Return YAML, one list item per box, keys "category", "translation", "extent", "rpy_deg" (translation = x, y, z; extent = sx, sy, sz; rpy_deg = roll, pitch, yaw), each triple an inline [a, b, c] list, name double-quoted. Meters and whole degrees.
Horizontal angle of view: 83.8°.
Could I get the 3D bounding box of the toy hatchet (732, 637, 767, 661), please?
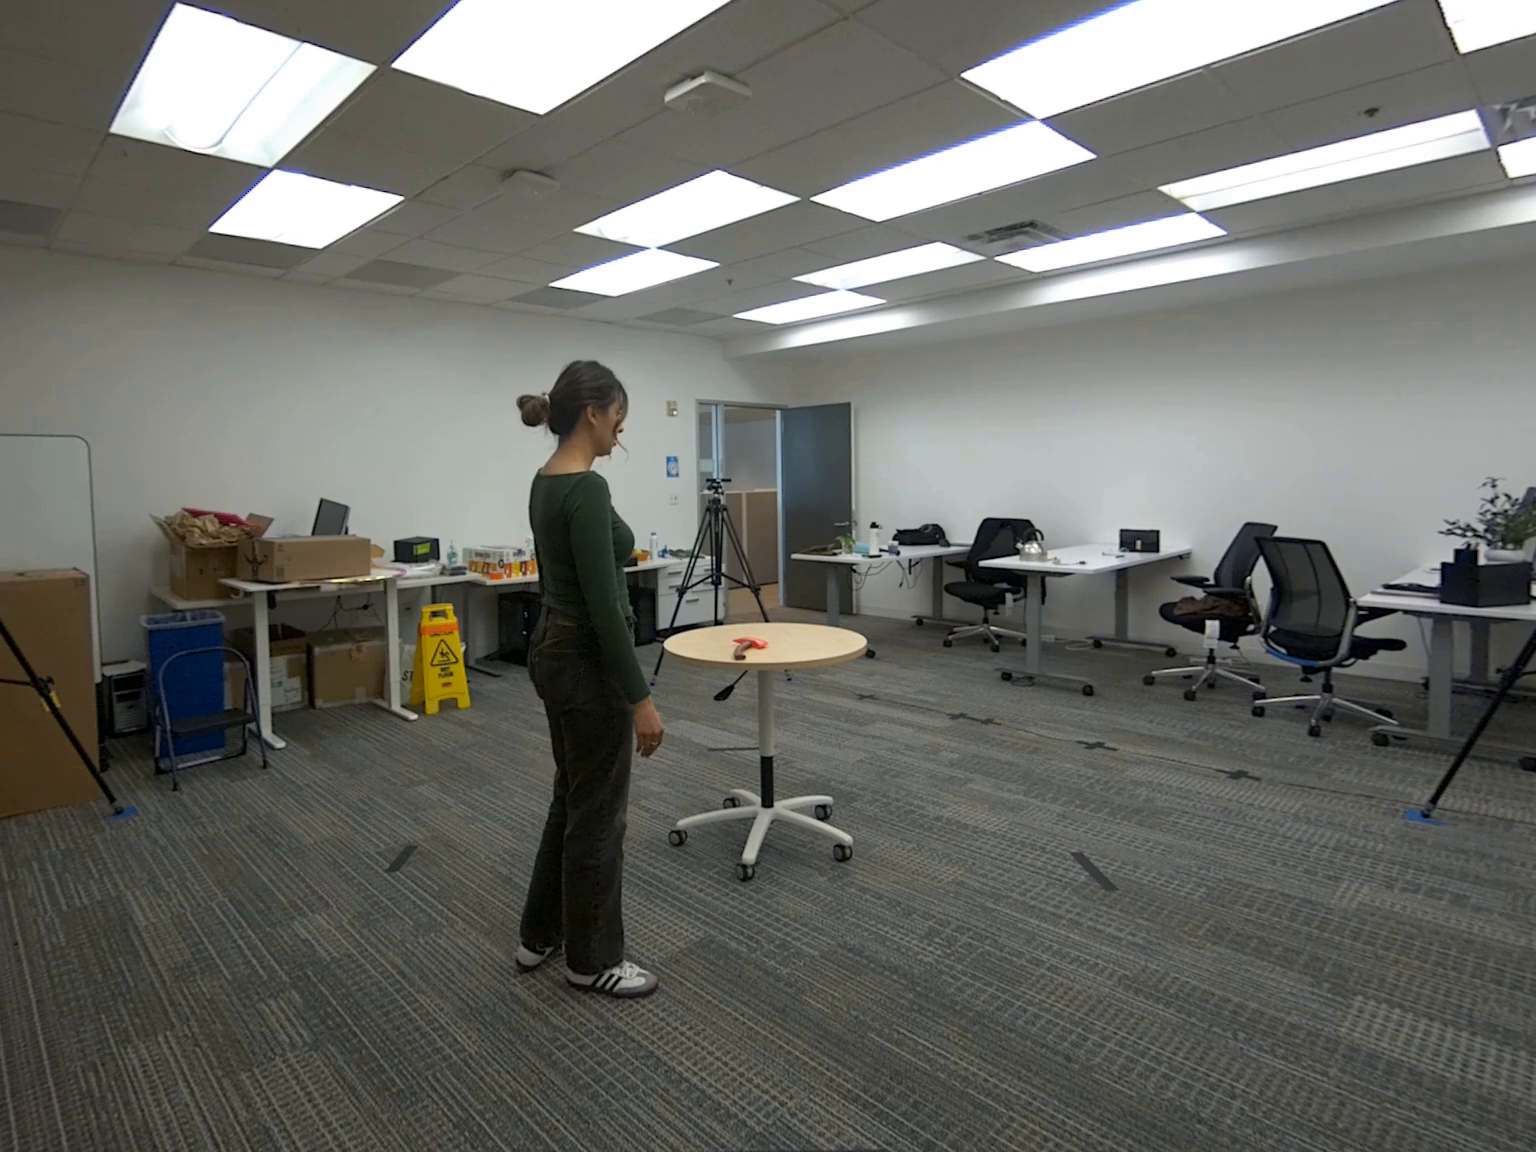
- category: "toy hatchet"
  translation: [-0.058, 0.260, 3.030]
  extent: [0.131, 0.029, 0.272]
  rpy_deg: [1, 8, -3]
